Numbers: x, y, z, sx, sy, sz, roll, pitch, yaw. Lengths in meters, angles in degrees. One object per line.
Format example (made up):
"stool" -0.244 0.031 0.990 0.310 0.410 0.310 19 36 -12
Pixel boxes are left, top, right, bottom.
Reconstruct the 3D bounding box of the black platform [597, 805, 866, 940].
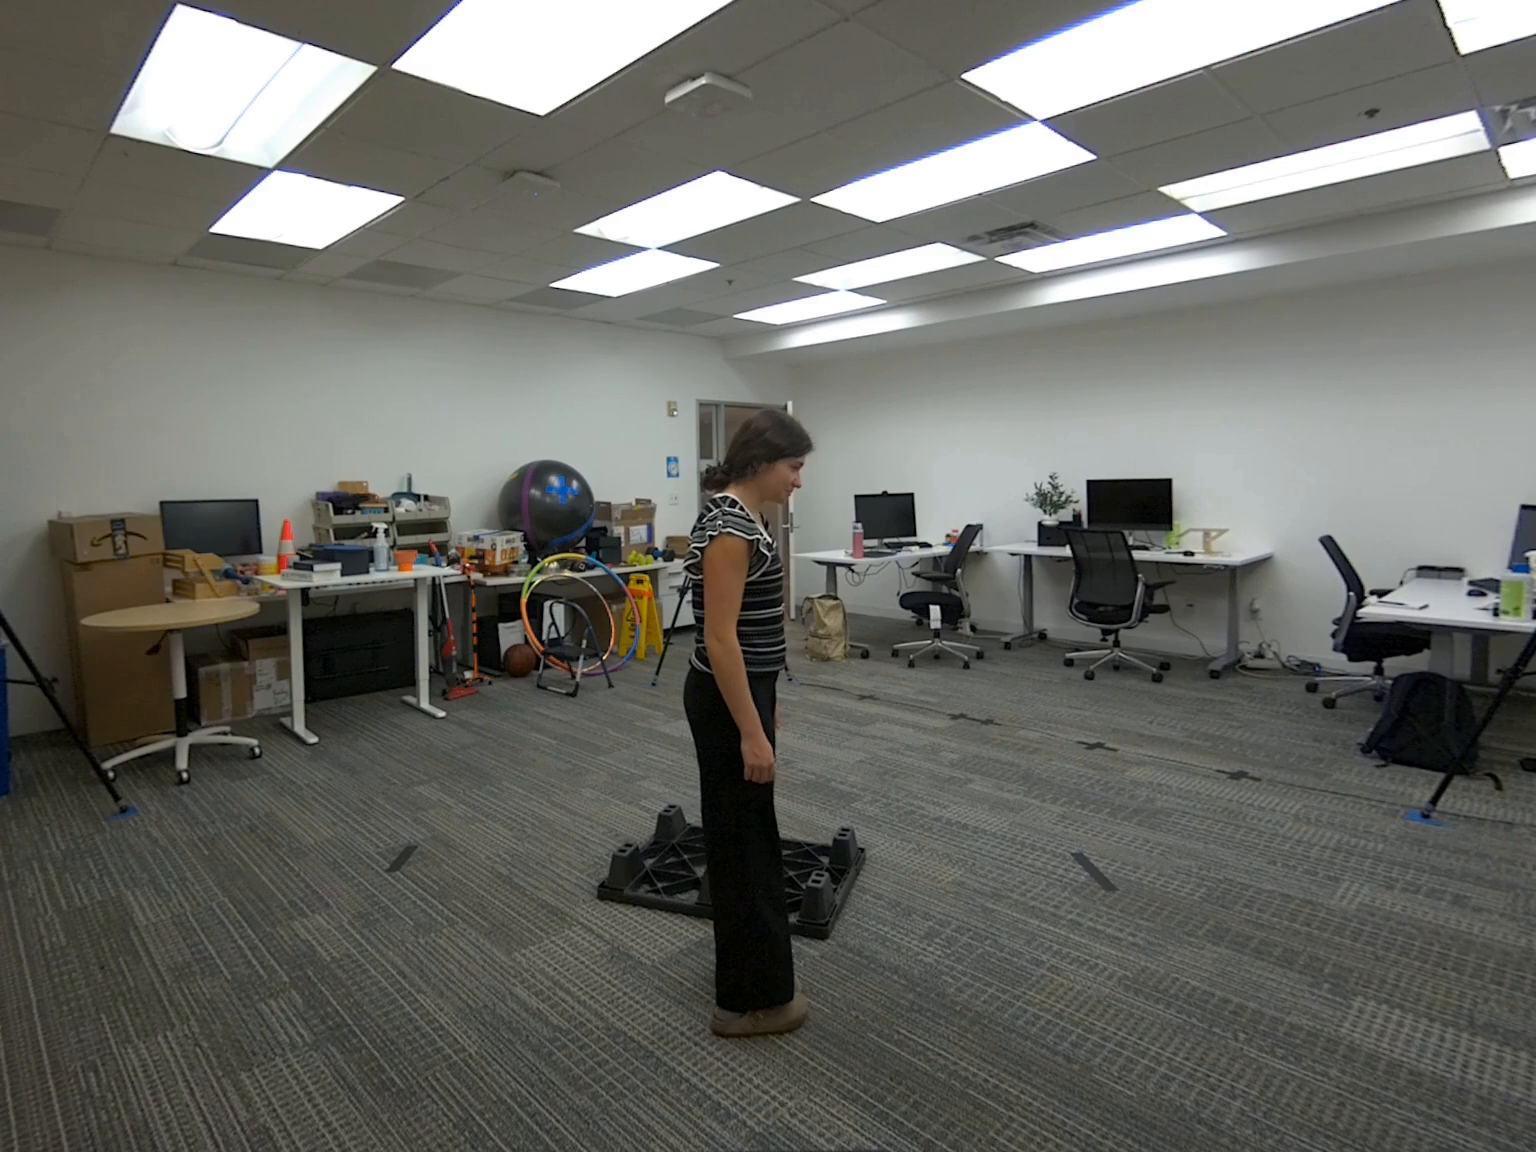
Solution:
"black platform" -0.102 0.990 2.994 0.821 0.142 0.597 2 7 19
